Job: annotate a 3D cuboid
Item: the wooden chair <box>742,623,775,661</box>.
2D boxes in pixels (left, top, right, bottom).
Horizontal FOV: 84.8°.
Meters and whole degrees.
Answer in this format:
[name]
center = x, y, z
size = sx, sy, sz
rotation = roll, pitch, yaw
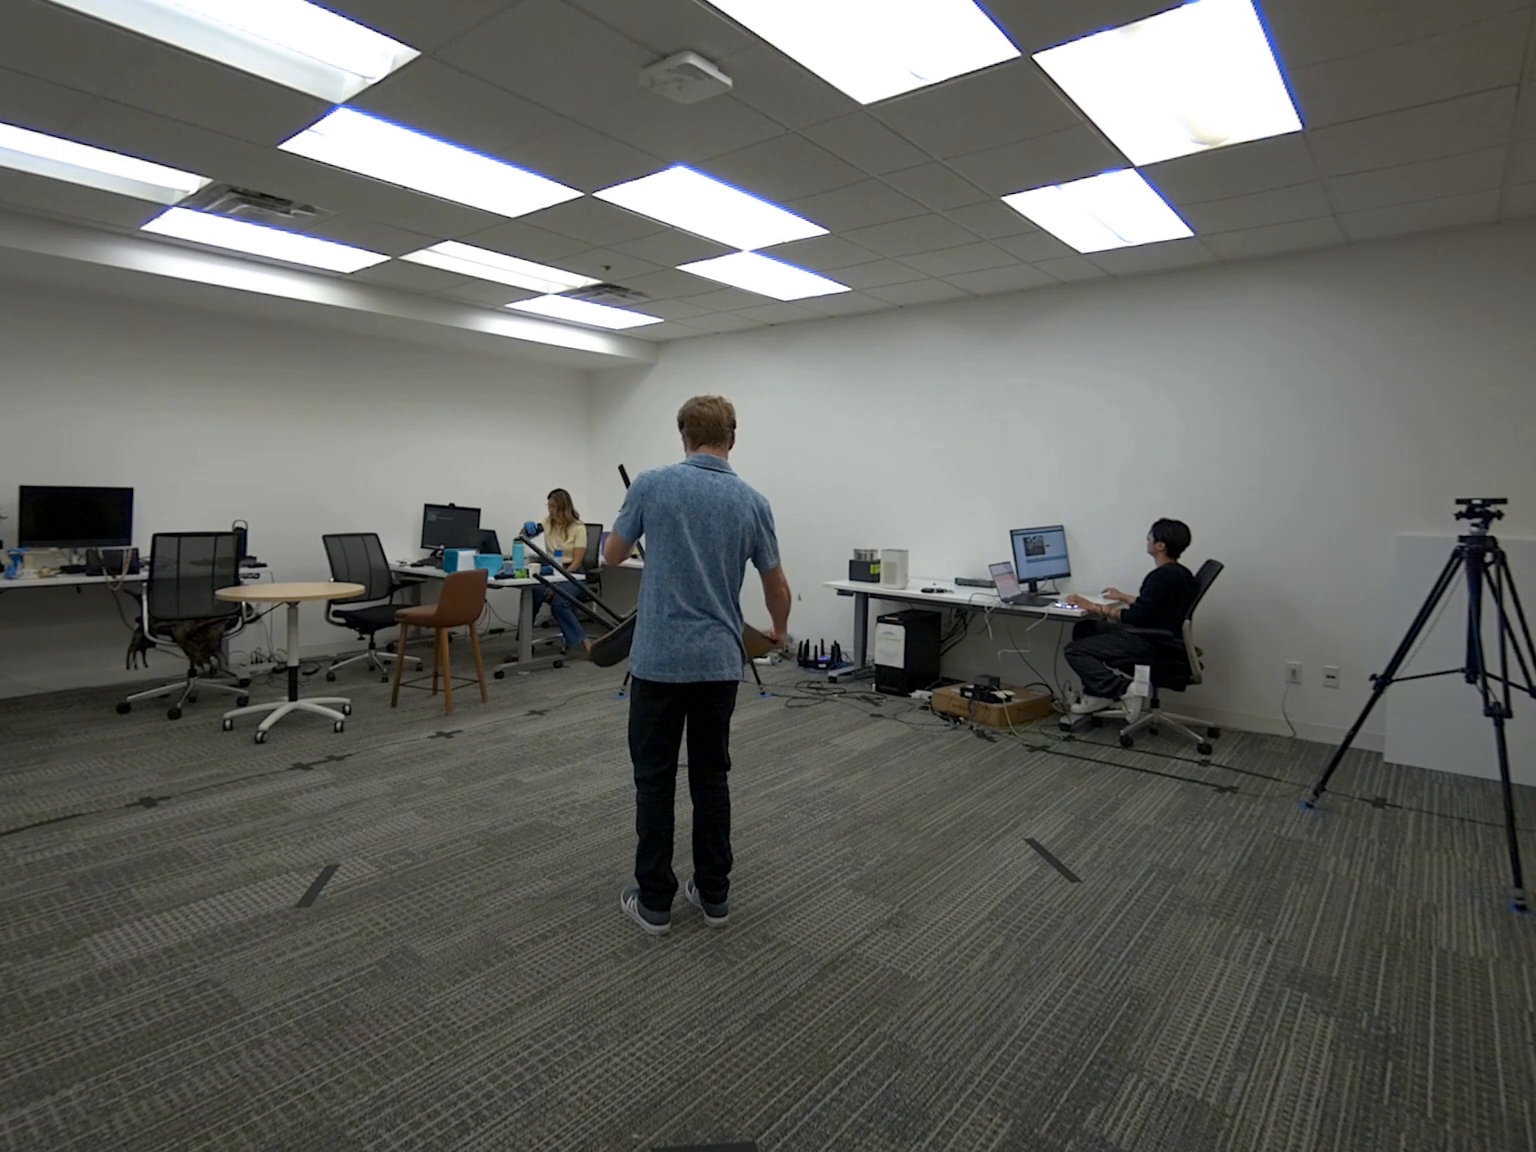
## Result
[wooden chair]
center = -0.465, 0.122, 3.132
size = 0.522, 0.890, 0.472
rotation = -43, -10, -19
